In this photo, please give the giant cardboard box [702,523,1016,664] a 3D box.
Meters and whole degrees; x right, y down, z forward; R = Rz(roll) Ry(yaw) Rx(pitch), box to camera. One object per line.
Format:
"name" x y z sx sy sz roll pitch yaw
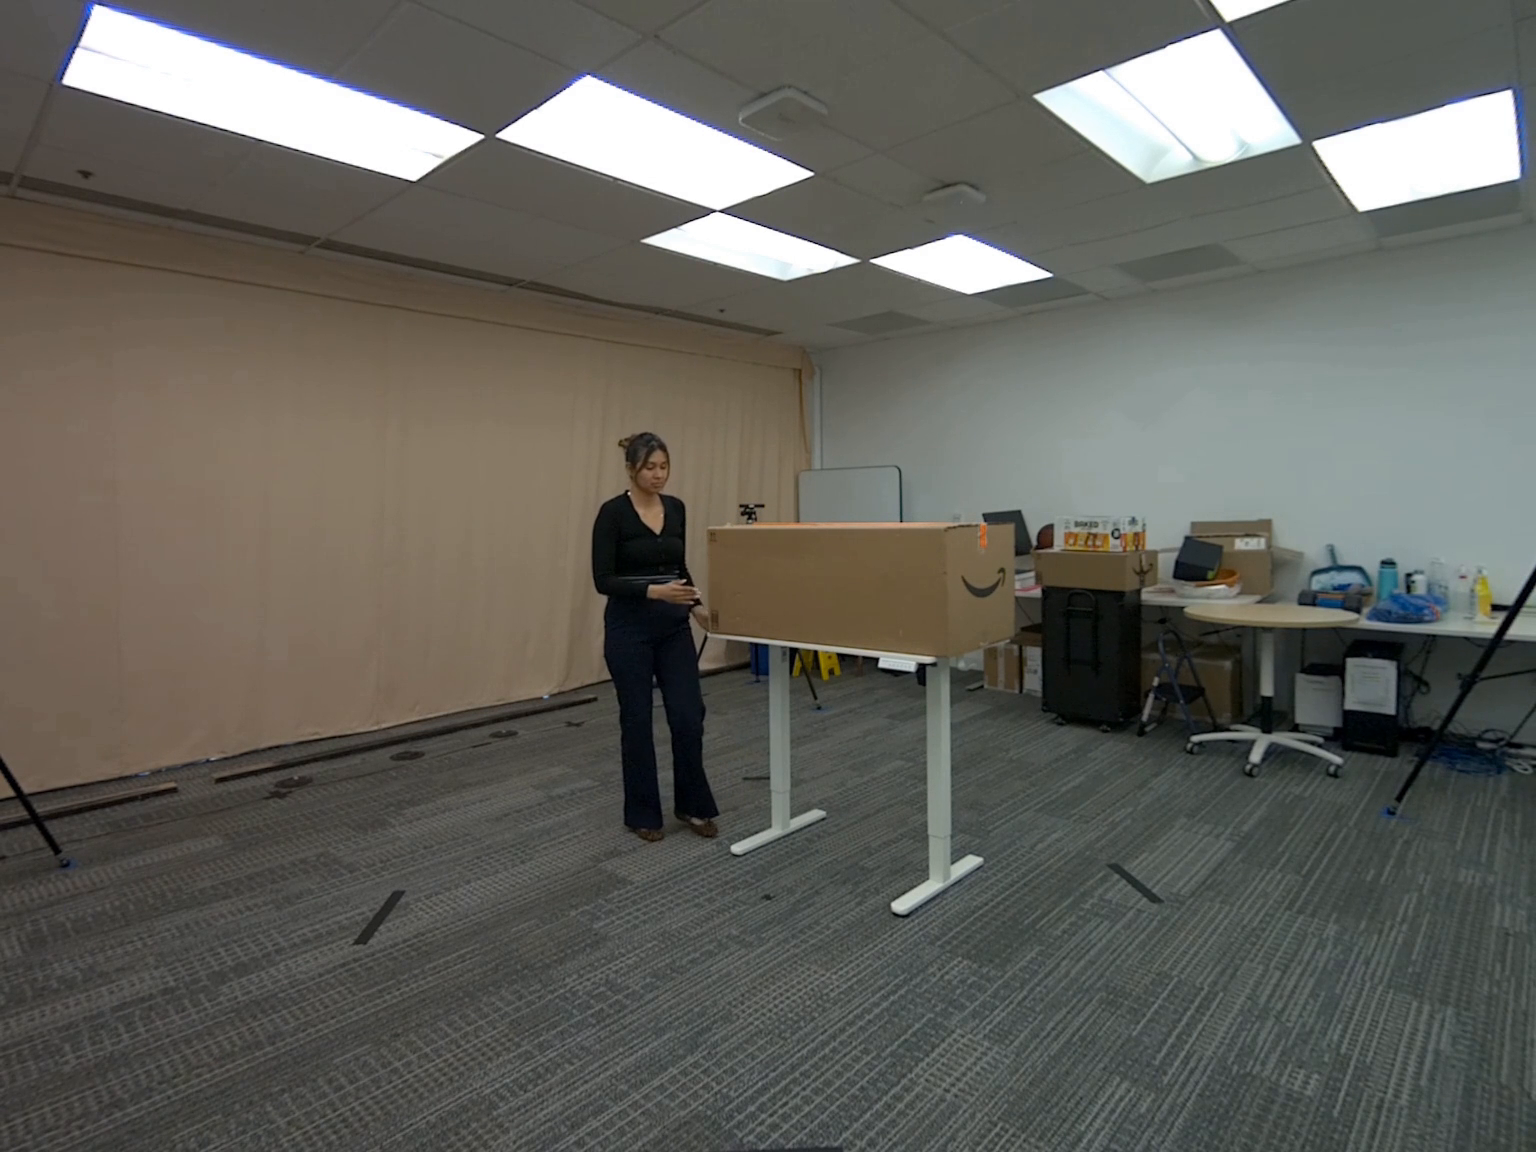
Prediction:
"giant cardboard box" 0.333 0.017 3.230 1.059 0.425 0.560 2 4 40
